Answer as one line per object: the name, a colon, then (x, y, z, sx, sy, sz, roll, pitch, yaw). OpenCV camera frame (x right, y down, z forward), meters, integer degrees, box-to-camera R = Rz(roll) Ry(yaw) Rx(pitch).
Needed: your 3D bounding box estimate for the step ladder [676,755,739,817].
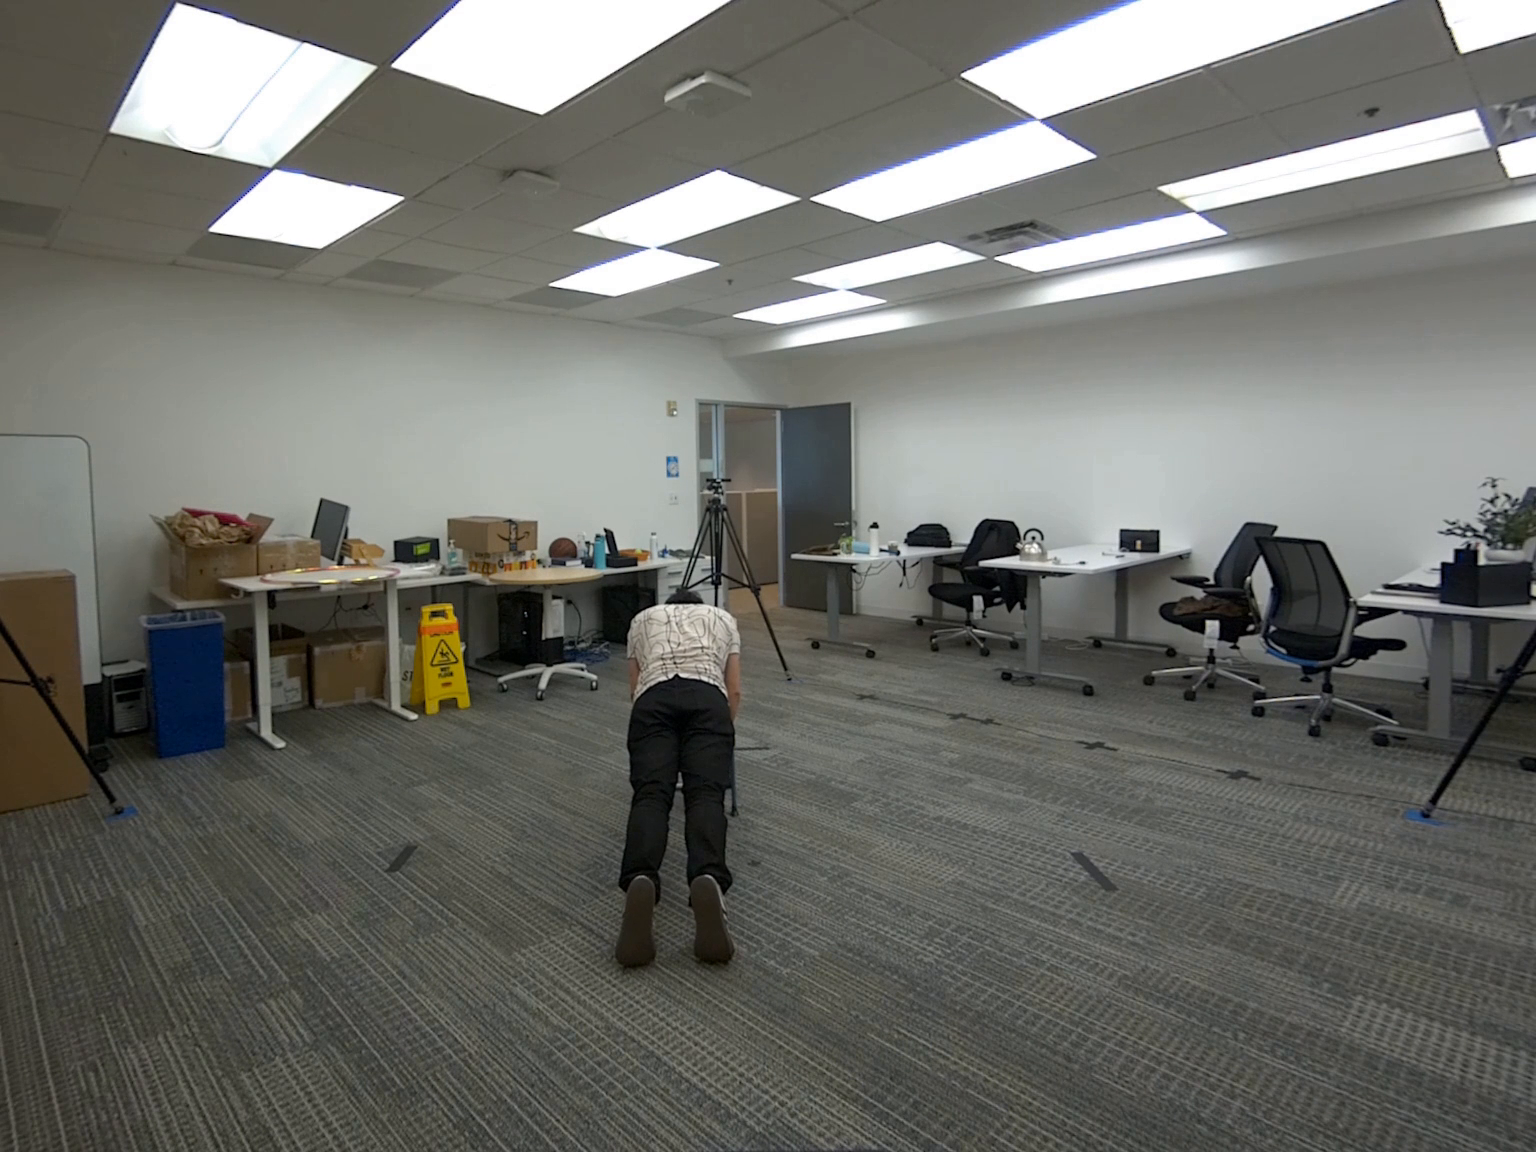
step ladder: (-0.351, 0.685, 3.698, 0.430, 0.603, 0.351, -1, 5, -3)
